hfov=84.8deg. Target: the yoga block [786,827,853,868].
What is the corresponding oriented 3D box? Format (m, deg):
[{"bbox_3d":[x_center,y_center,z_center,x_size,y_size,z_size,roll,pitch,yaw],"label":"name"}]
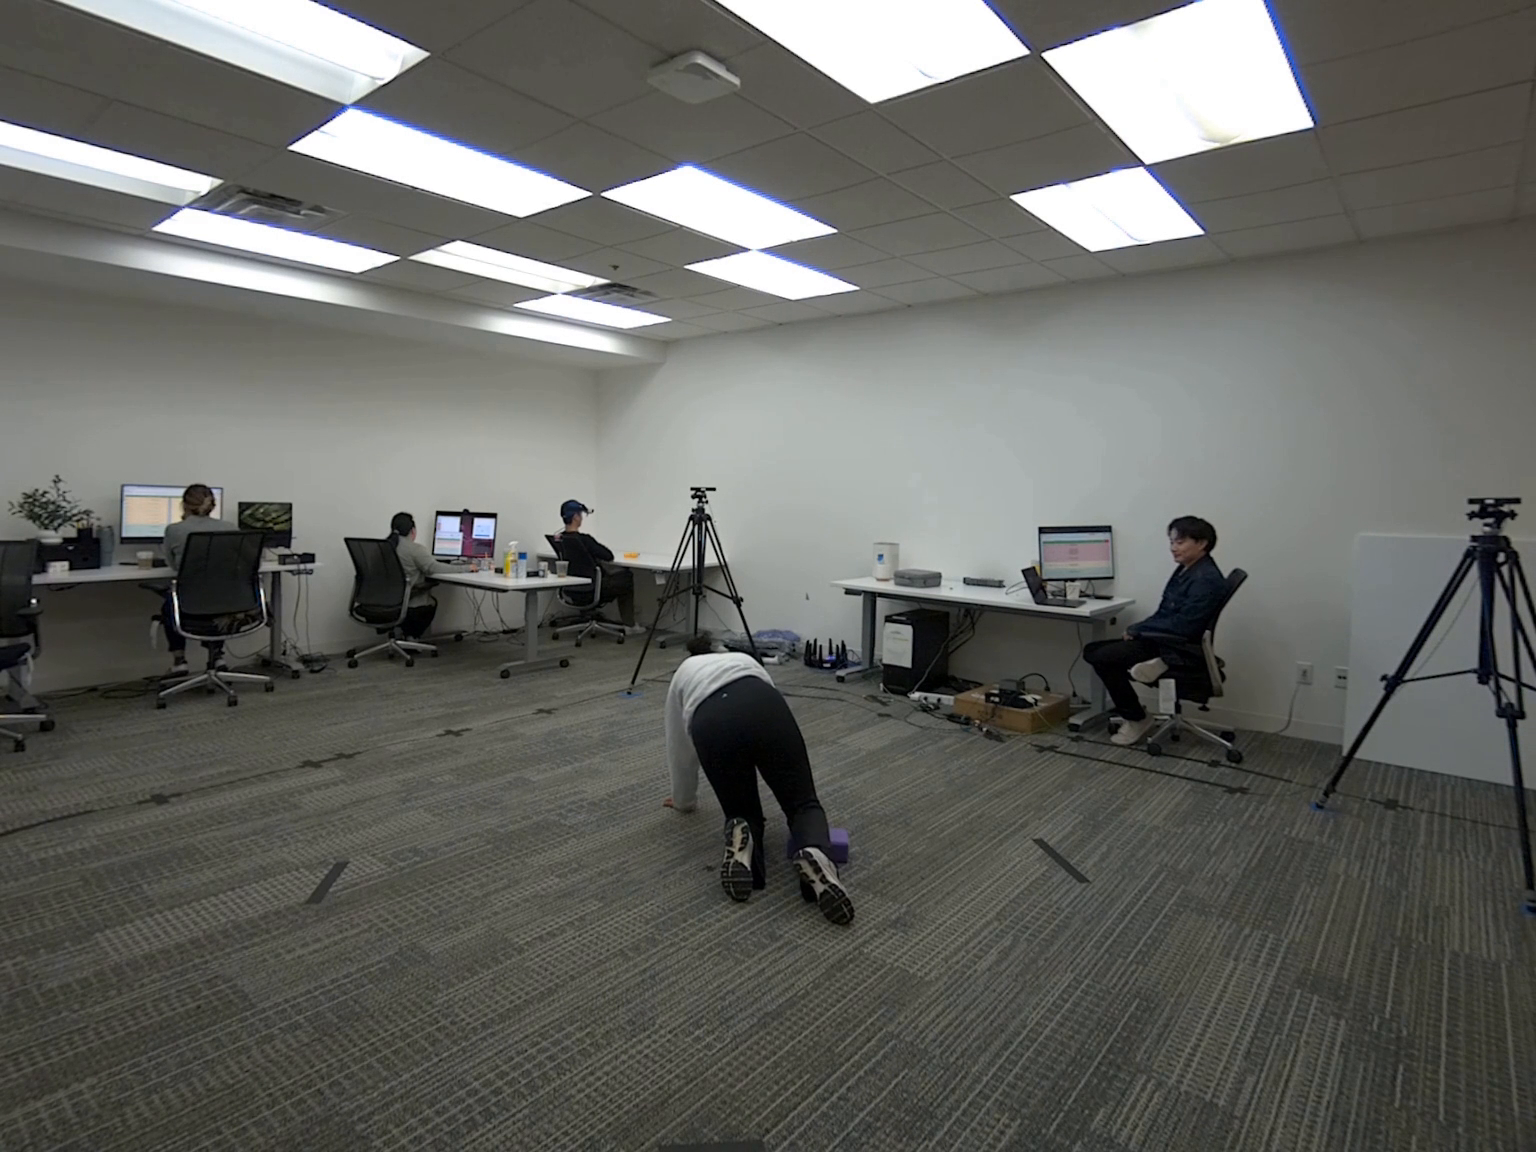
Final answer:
[{"bbox_3d":[0.180,1.021,3.253,0.231,0.076,0.148,2,5,5],"label":"yoga block"}]
